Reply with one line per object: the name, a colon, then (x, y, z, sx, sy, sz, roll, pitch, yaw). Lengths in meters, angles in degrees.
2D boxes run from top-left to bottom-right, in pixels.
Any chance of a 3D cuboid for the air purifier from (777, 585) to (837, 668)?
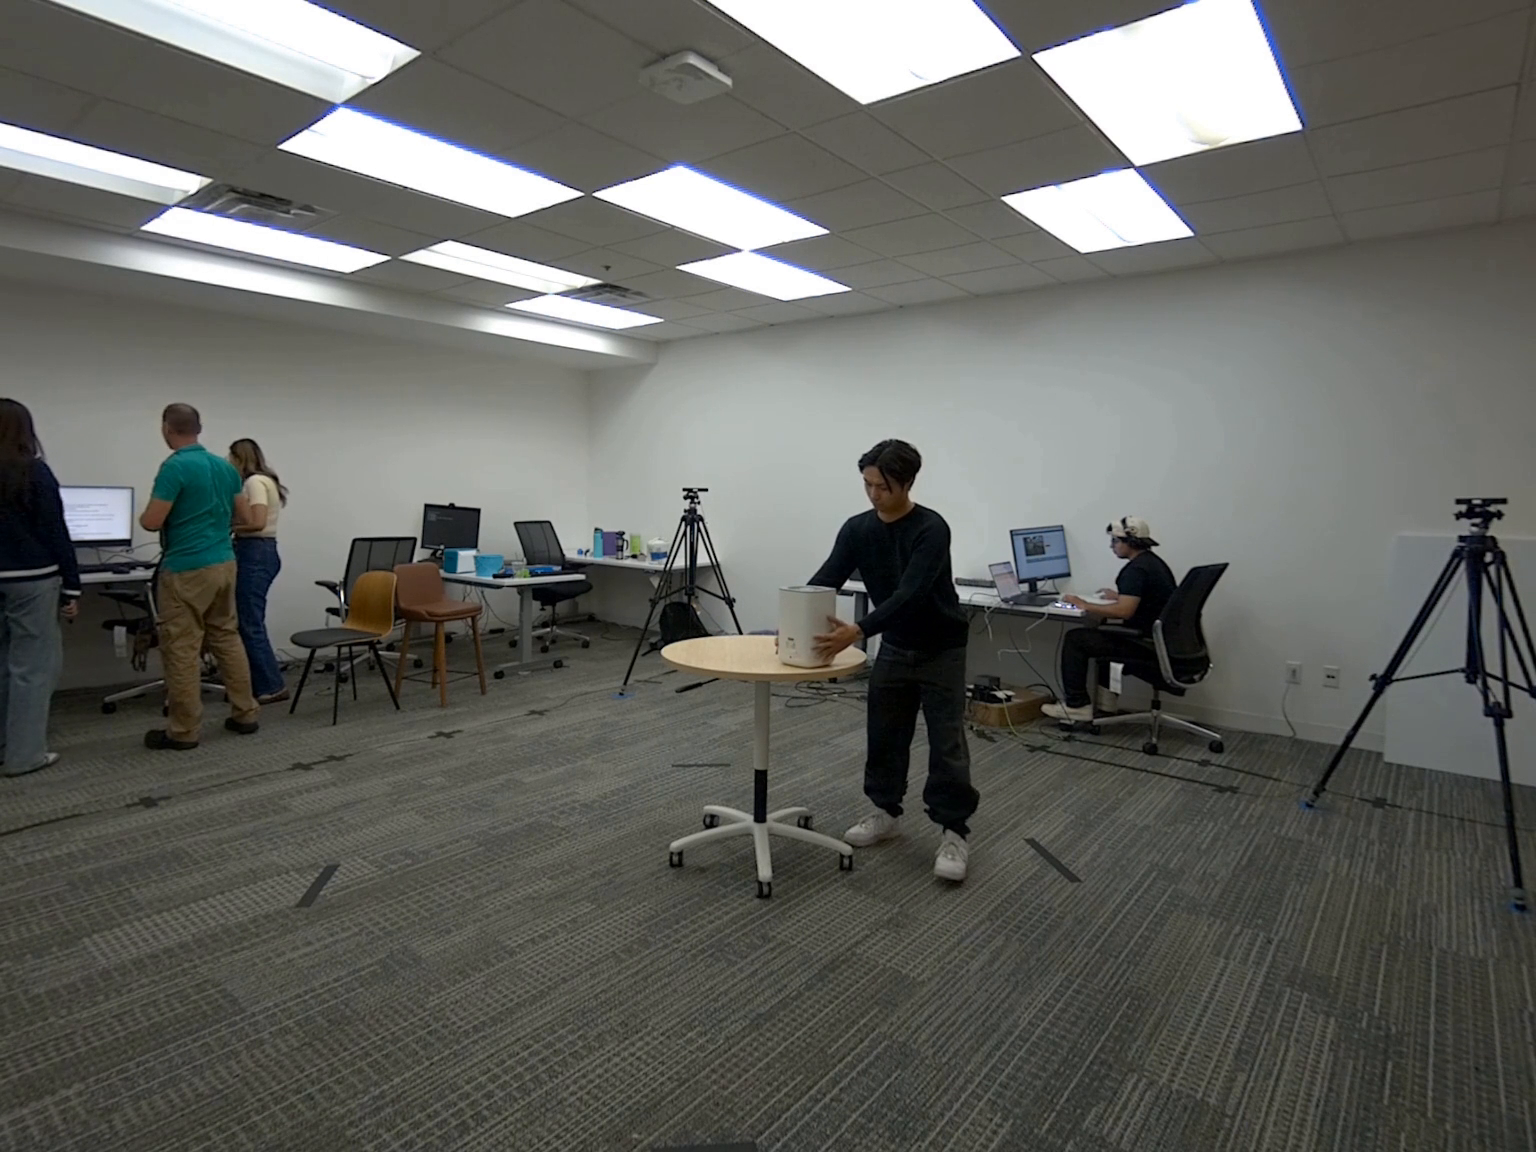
air purifier: (0.129, 0.171, 2.971, 0.177, 0.265, 0.166, 3, 4, 44)
